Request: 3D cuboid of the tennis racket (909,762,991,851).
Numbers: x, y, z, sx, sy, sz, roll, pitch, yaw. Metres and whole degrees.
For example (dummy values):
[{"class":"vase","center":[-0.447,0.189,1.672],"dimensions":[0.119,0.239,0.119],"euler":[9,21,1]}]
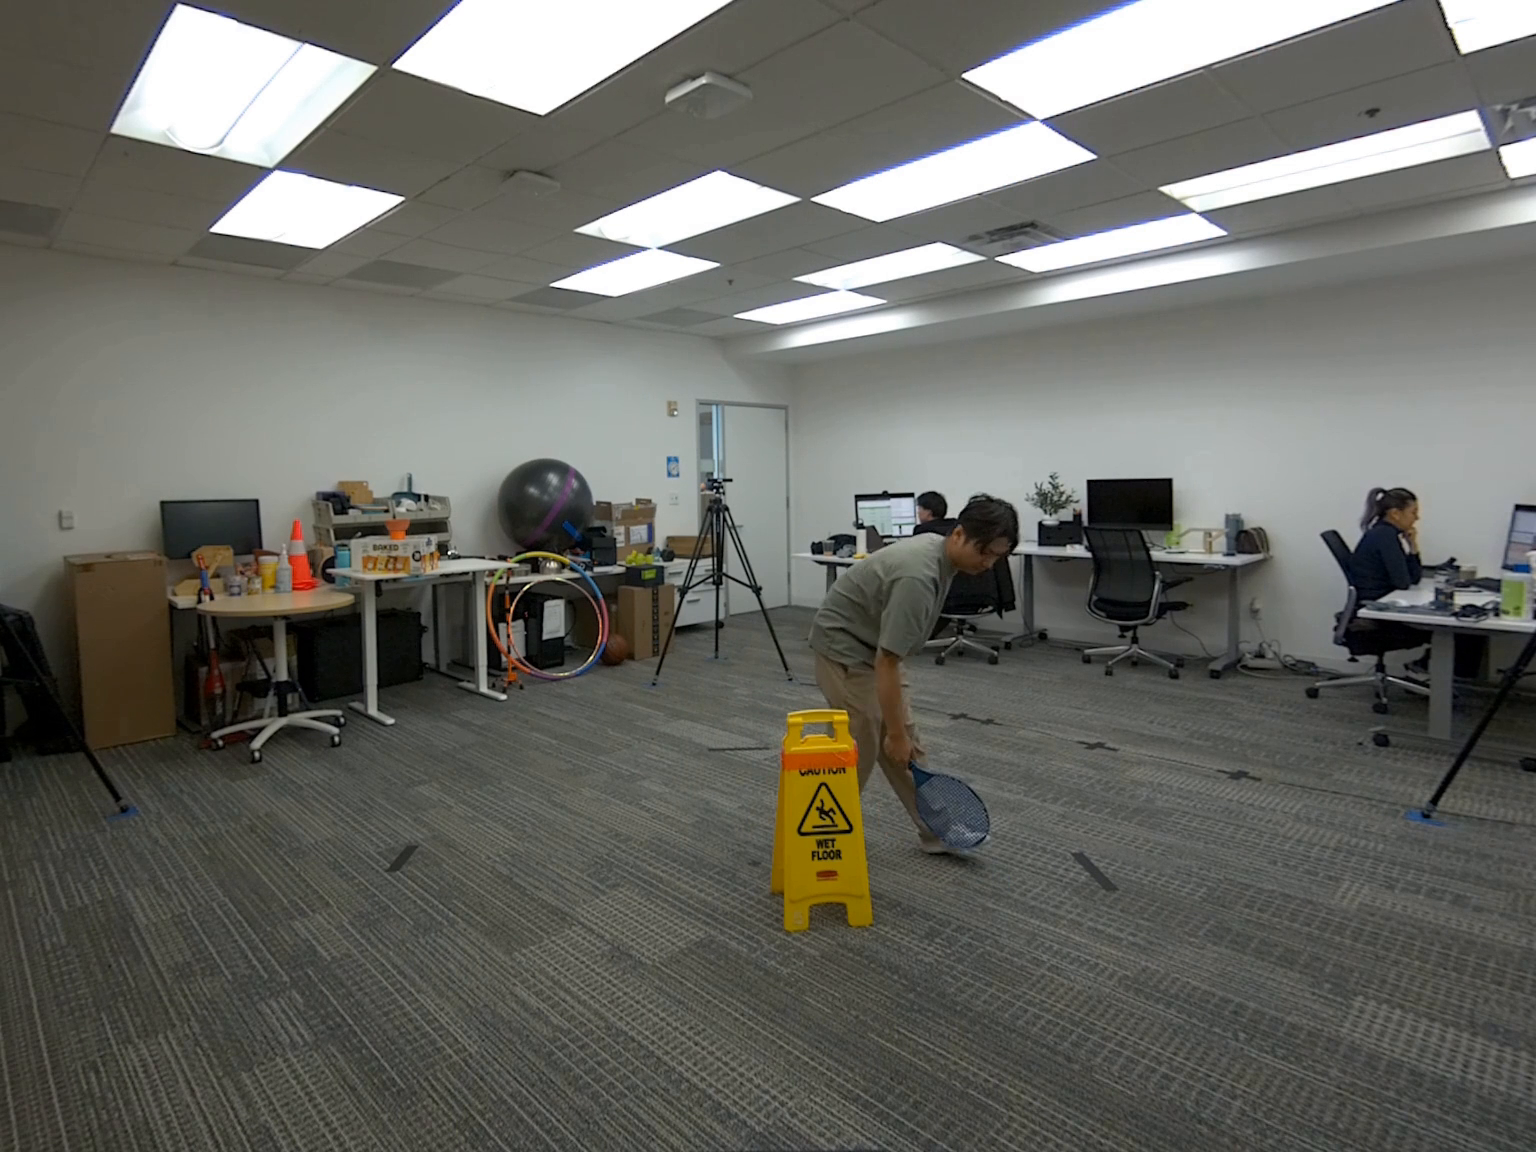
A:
[{"class":"tennis racket","center":[0.528,0.729,2.863],"dimensions":[0.213,0.441,0.031],"euler":[-48,-15,21]}]
